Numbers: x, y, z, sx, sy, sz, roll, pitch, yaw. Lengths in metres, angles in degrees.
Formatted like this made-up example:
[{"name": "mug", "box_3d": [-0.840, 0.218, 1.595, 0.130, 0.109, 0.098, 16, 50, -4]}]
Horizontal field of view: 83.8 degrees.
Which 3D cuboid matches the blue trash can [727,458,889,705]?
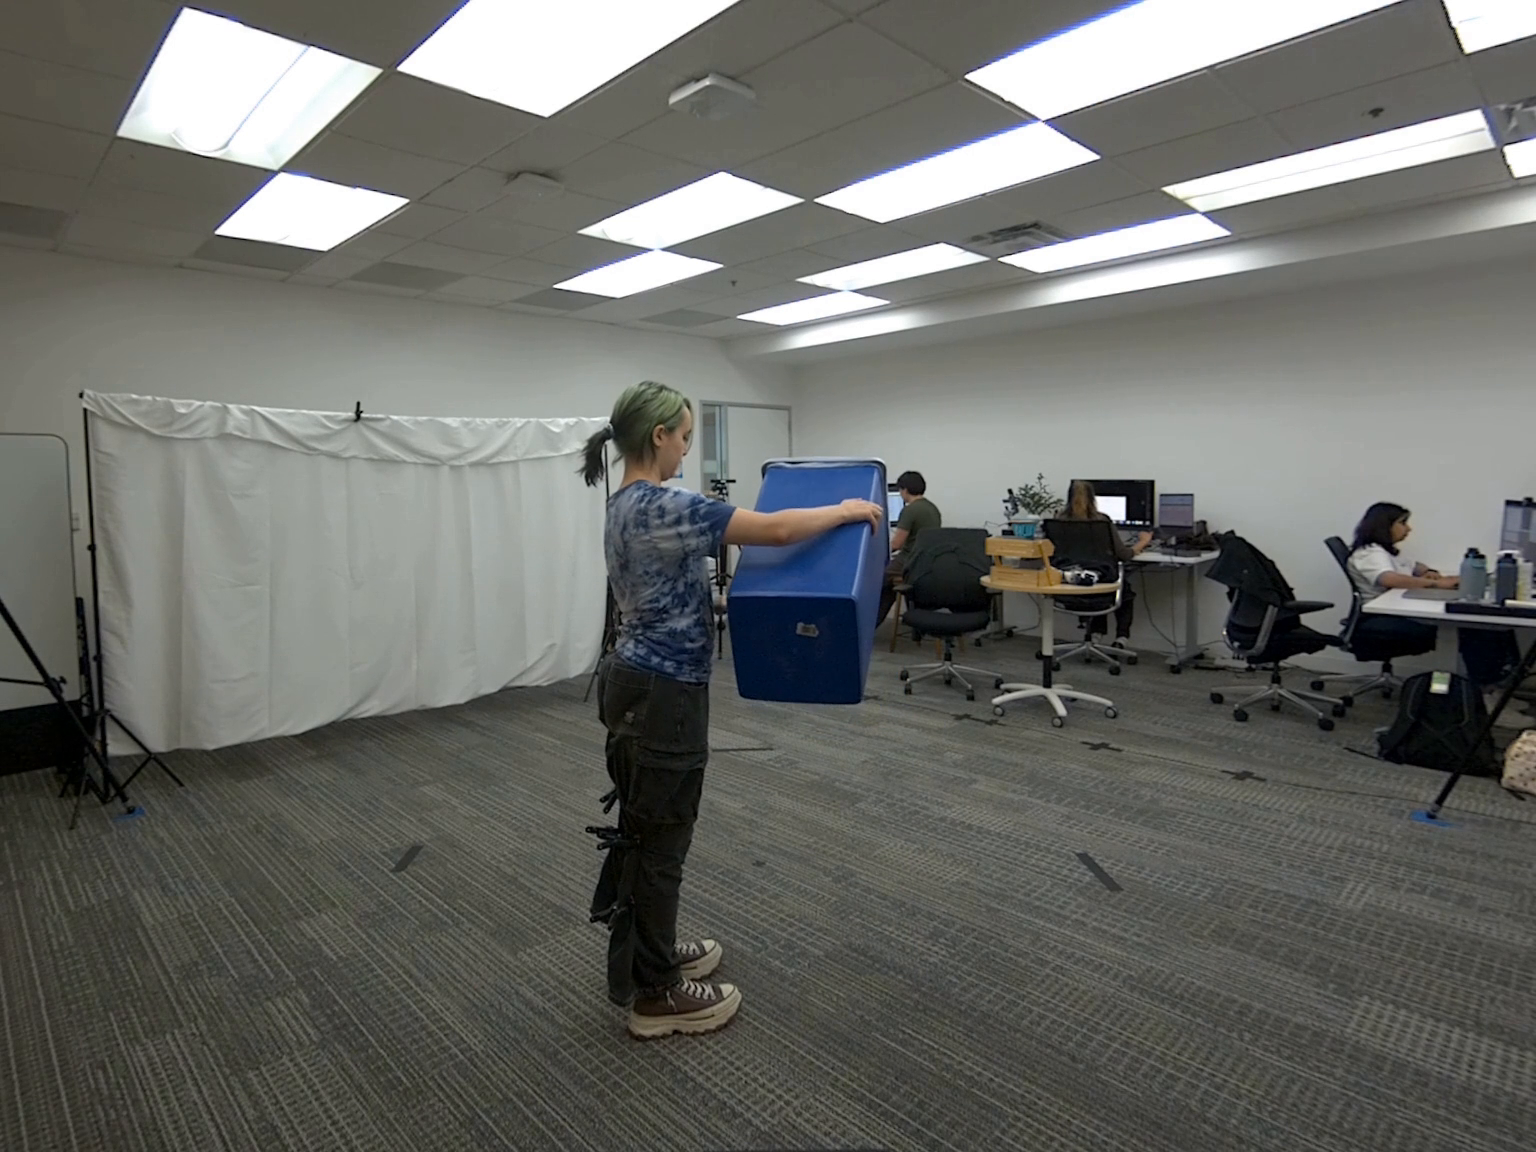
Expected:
[{"name": "blue trash can", "box_3d": [0.132, -0.018, 2.294, 0.382, 0.365, 0.723, 0, 29, 11]}]
